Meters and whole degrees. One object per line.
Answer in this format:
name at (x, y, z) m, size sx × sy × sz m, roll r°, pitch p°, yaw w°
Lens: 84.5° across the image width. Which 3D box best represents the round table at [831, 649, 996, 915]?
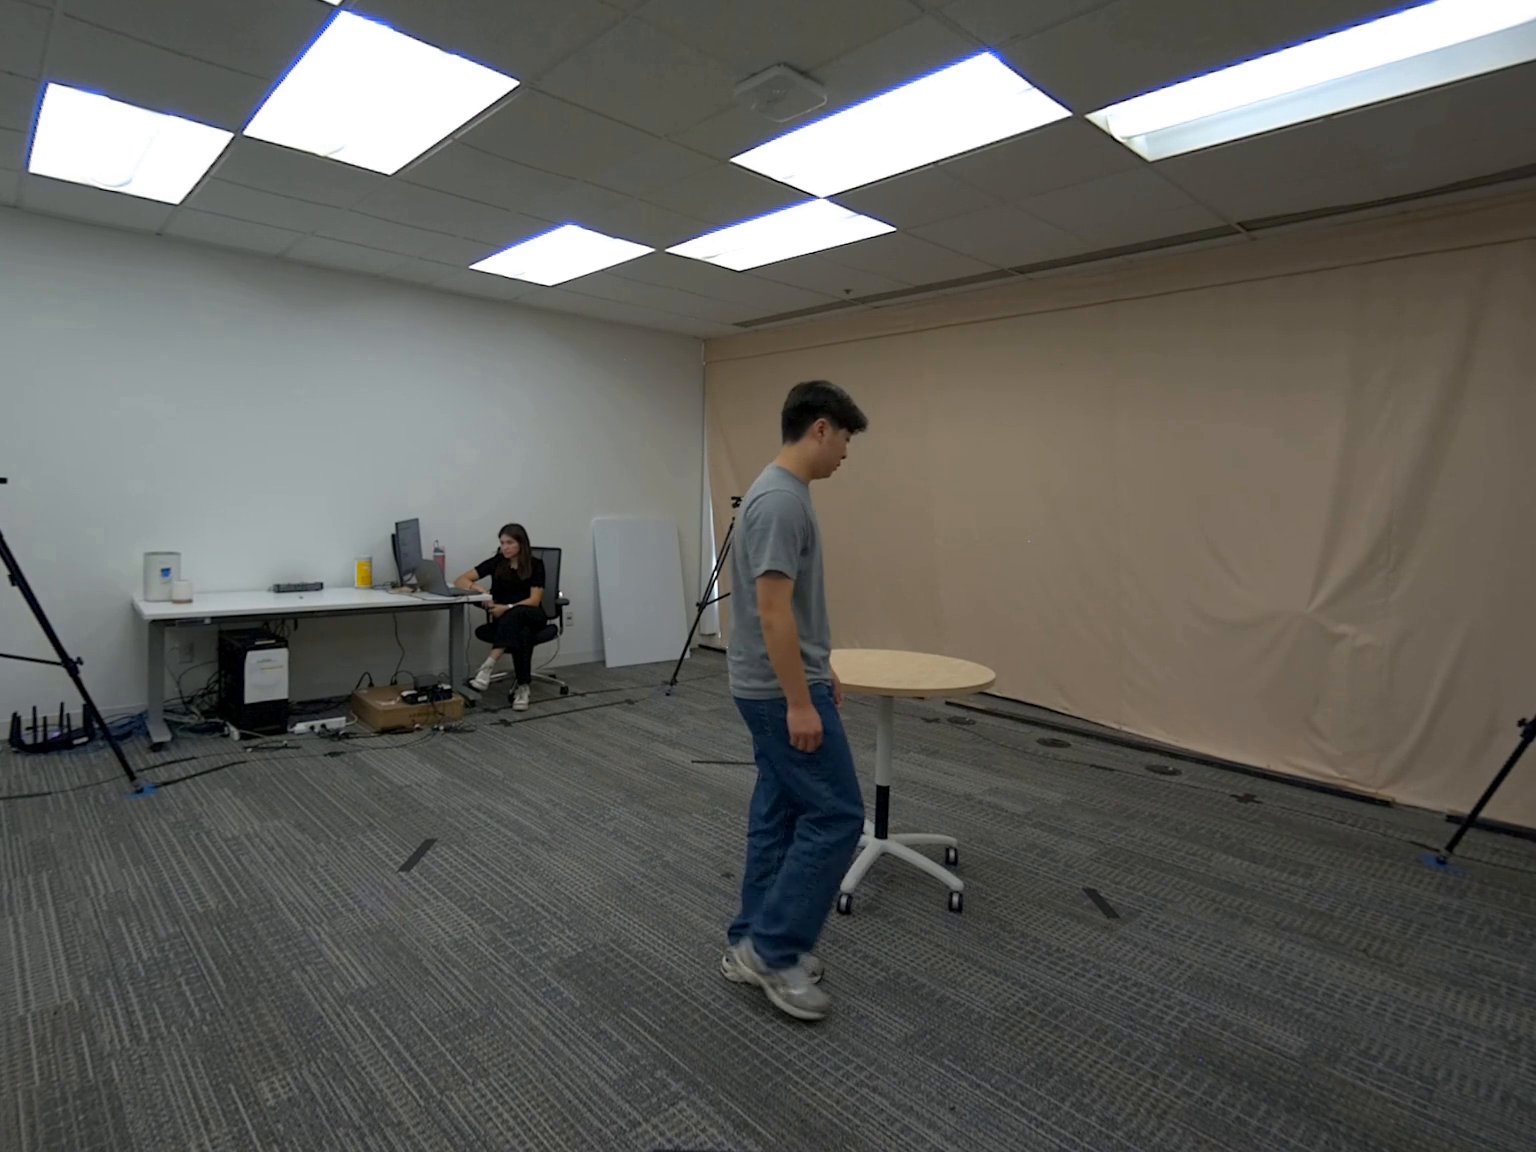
round table at (0.421, 0.729, 3.129) m, size 0.763 × 0.792 × 0.766 m, roll 2°, pitch 4°, yaw -1°
